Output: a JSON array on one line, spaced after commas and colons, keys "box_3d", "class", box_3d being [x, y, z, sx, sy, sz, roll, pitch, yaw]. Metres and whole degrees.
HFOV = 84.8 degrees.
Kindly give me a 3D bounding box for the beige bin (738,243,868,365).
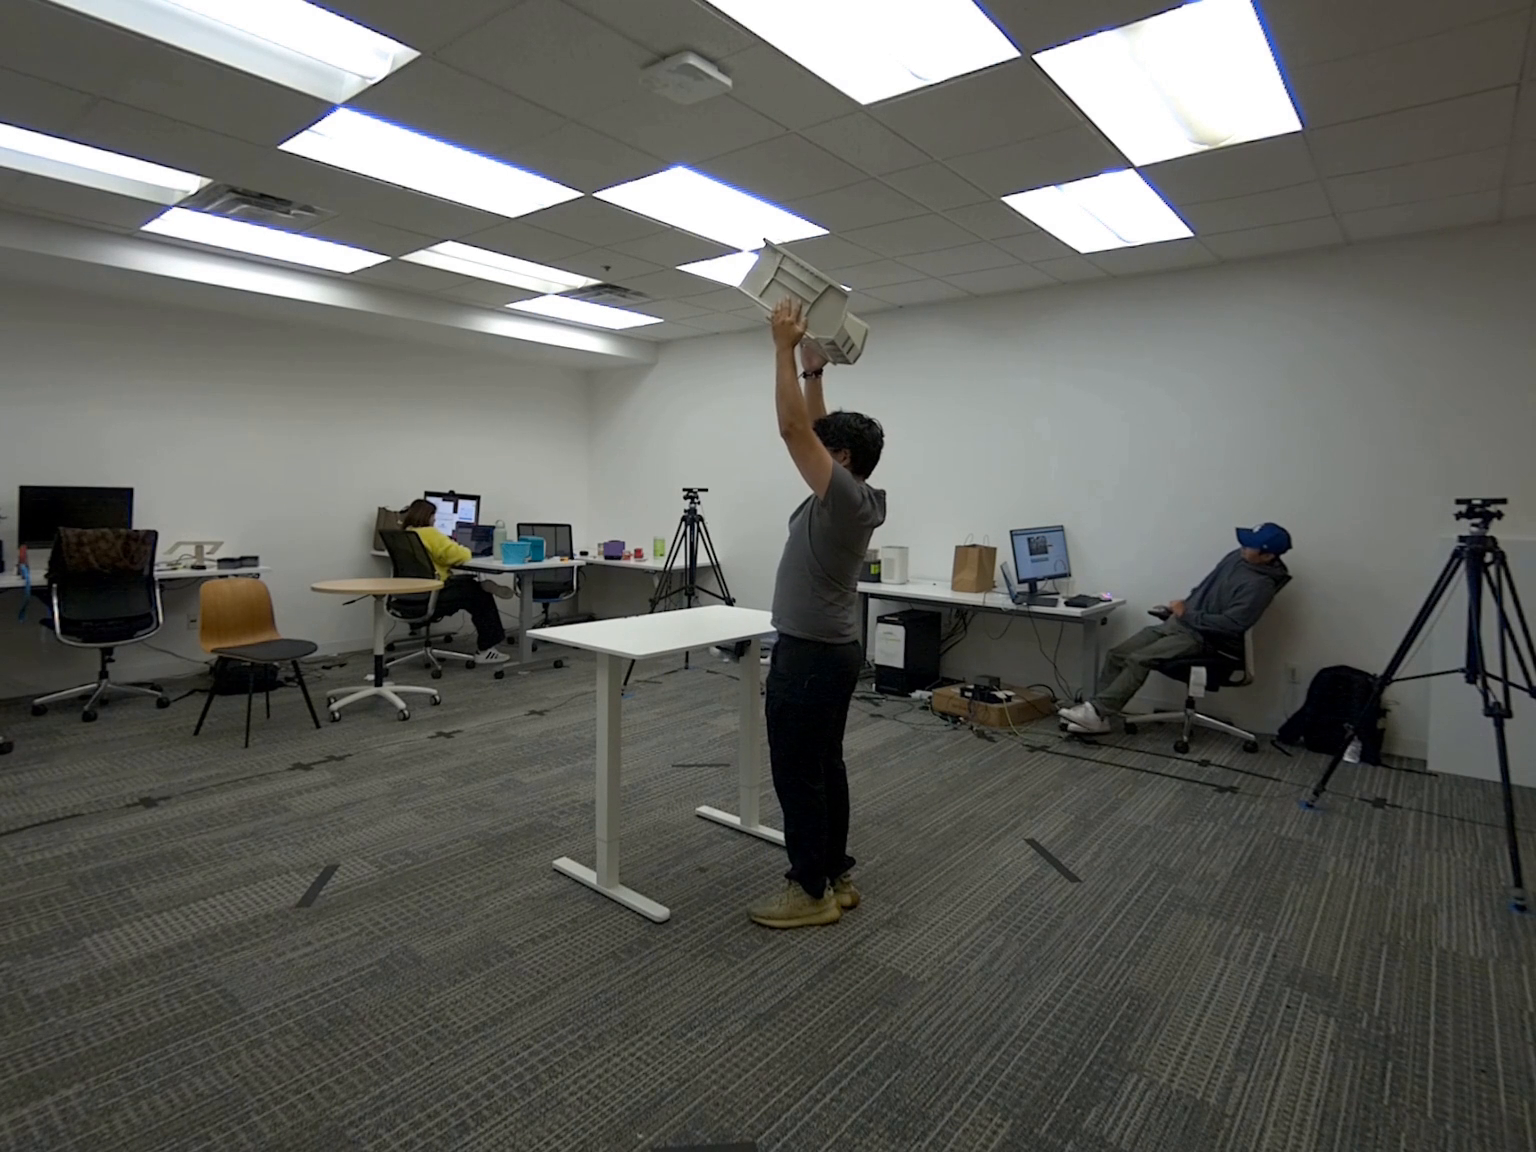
[{"box_3d": [0.123, -0.888, 2.836, 0.385, 0.188, 0.415, 36, 11, 12], "class": "beige bin"}]
